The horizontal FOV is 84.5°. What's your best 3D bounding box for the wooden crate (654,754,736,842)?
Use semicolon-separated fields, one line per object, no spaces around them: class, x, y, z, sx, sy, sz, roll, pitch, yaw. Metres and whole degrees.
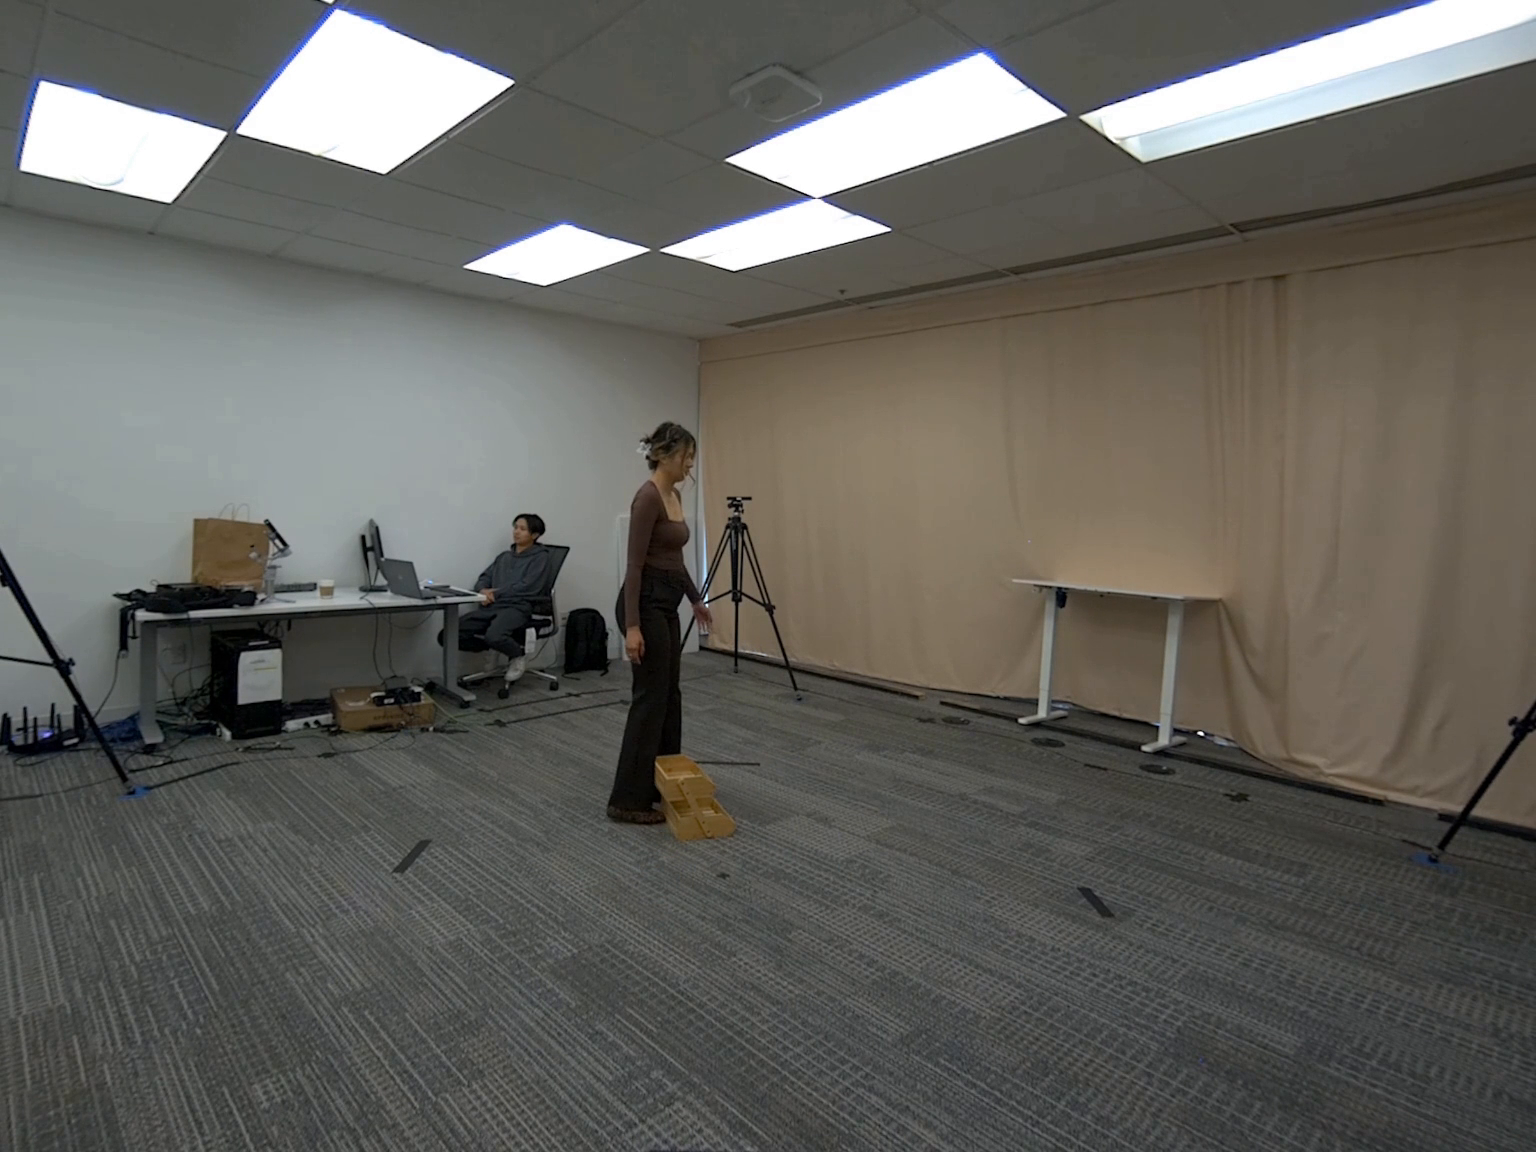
wooden crate;-0.321;0.928;3.581;0.298;0.272;0.330;-1;4;-18
